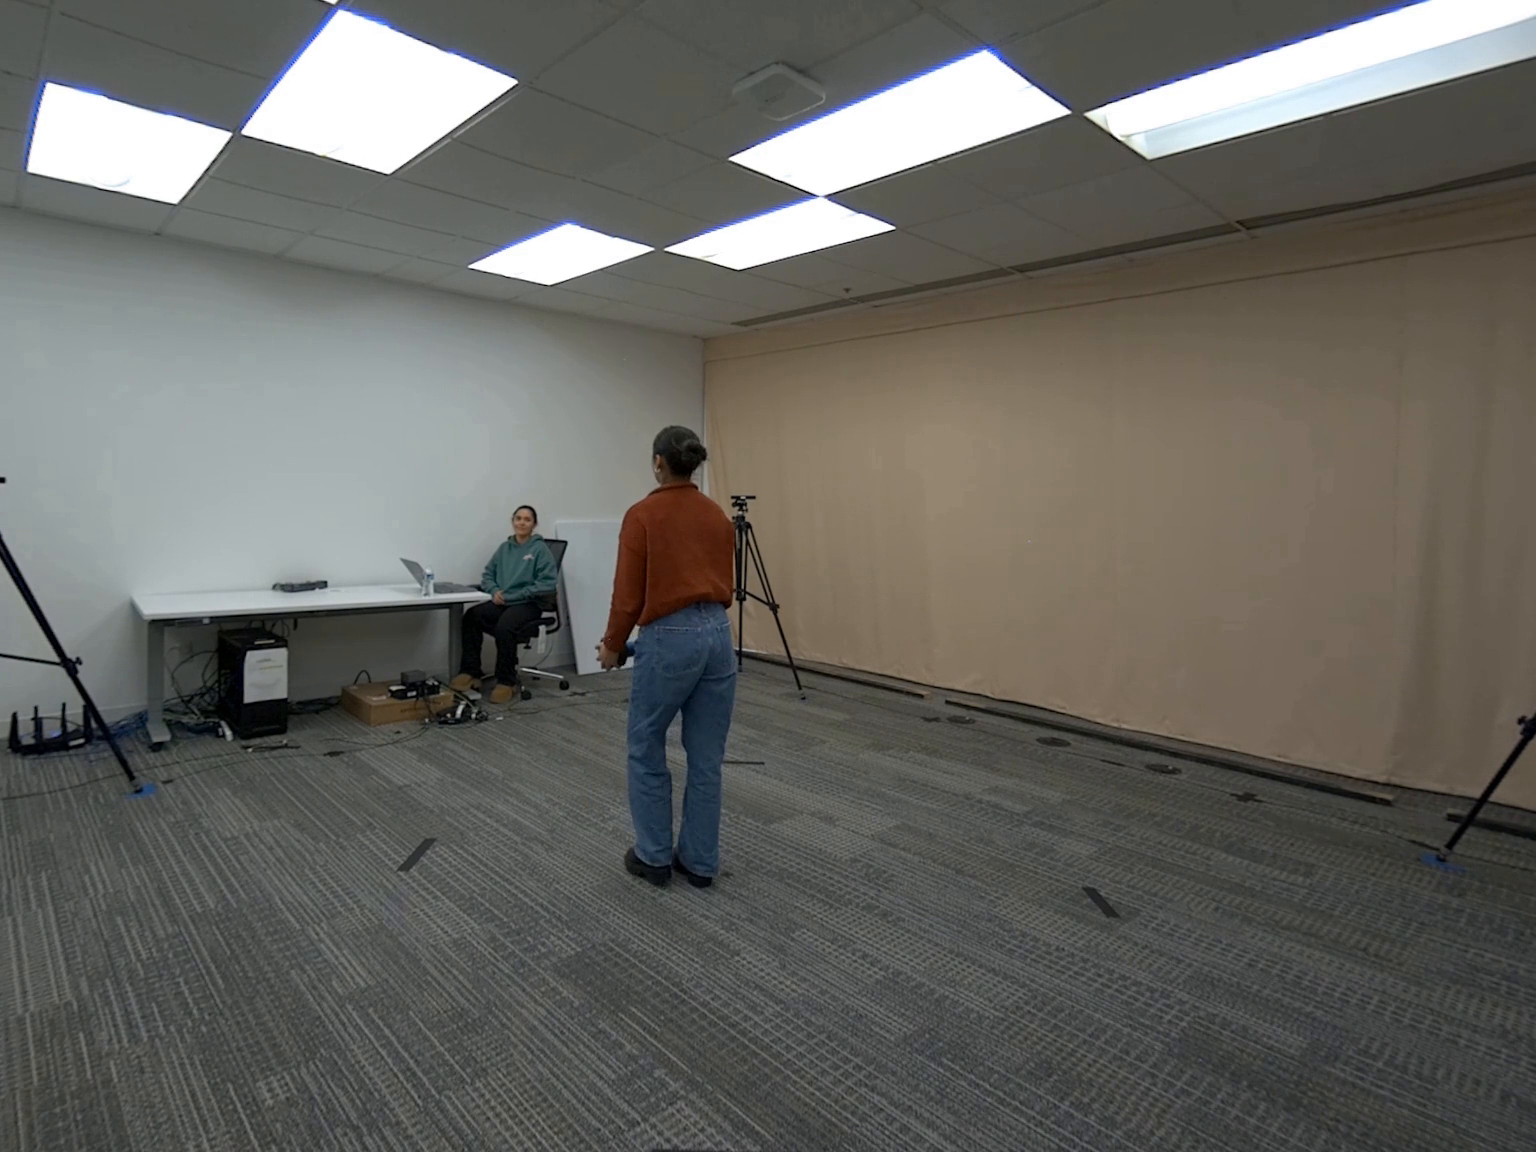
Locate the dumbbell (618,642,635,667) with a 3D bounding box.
[{"bbox_3d":[-0.493,0.275,3.207,0.288,0.121,0.112,-4,34,-32],"label":"dumbbell"}]
